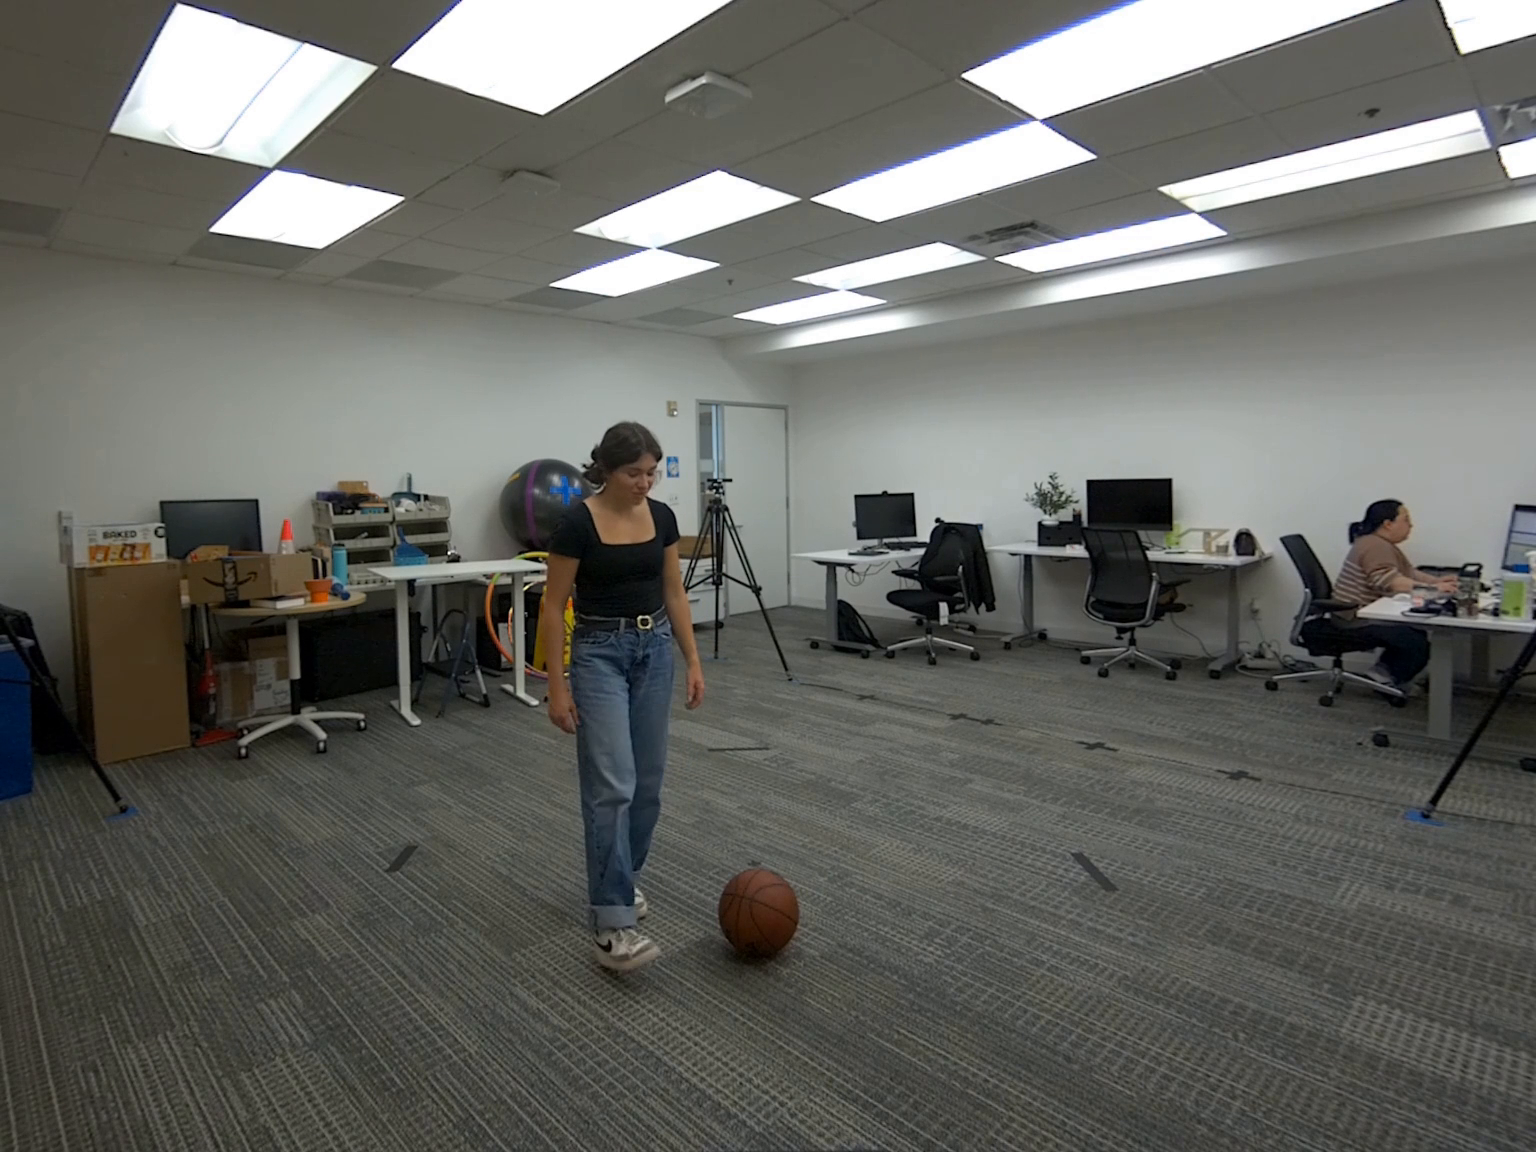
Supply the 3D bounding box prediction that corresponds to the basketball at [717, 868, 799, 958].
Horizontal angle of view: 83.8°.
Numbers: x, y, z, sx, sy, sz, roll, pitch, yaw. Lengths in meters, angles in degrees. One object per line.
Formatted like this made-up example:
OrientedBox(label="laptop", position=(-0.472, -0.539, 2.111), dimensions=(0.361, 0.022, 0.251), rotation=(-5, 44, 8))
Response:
OrientedBox(label="basketball", position=(-0.018, 0.993, 2.527), dimensions=(0.236, 0.235, 0.237), rotation=(-1, 5, -2))
